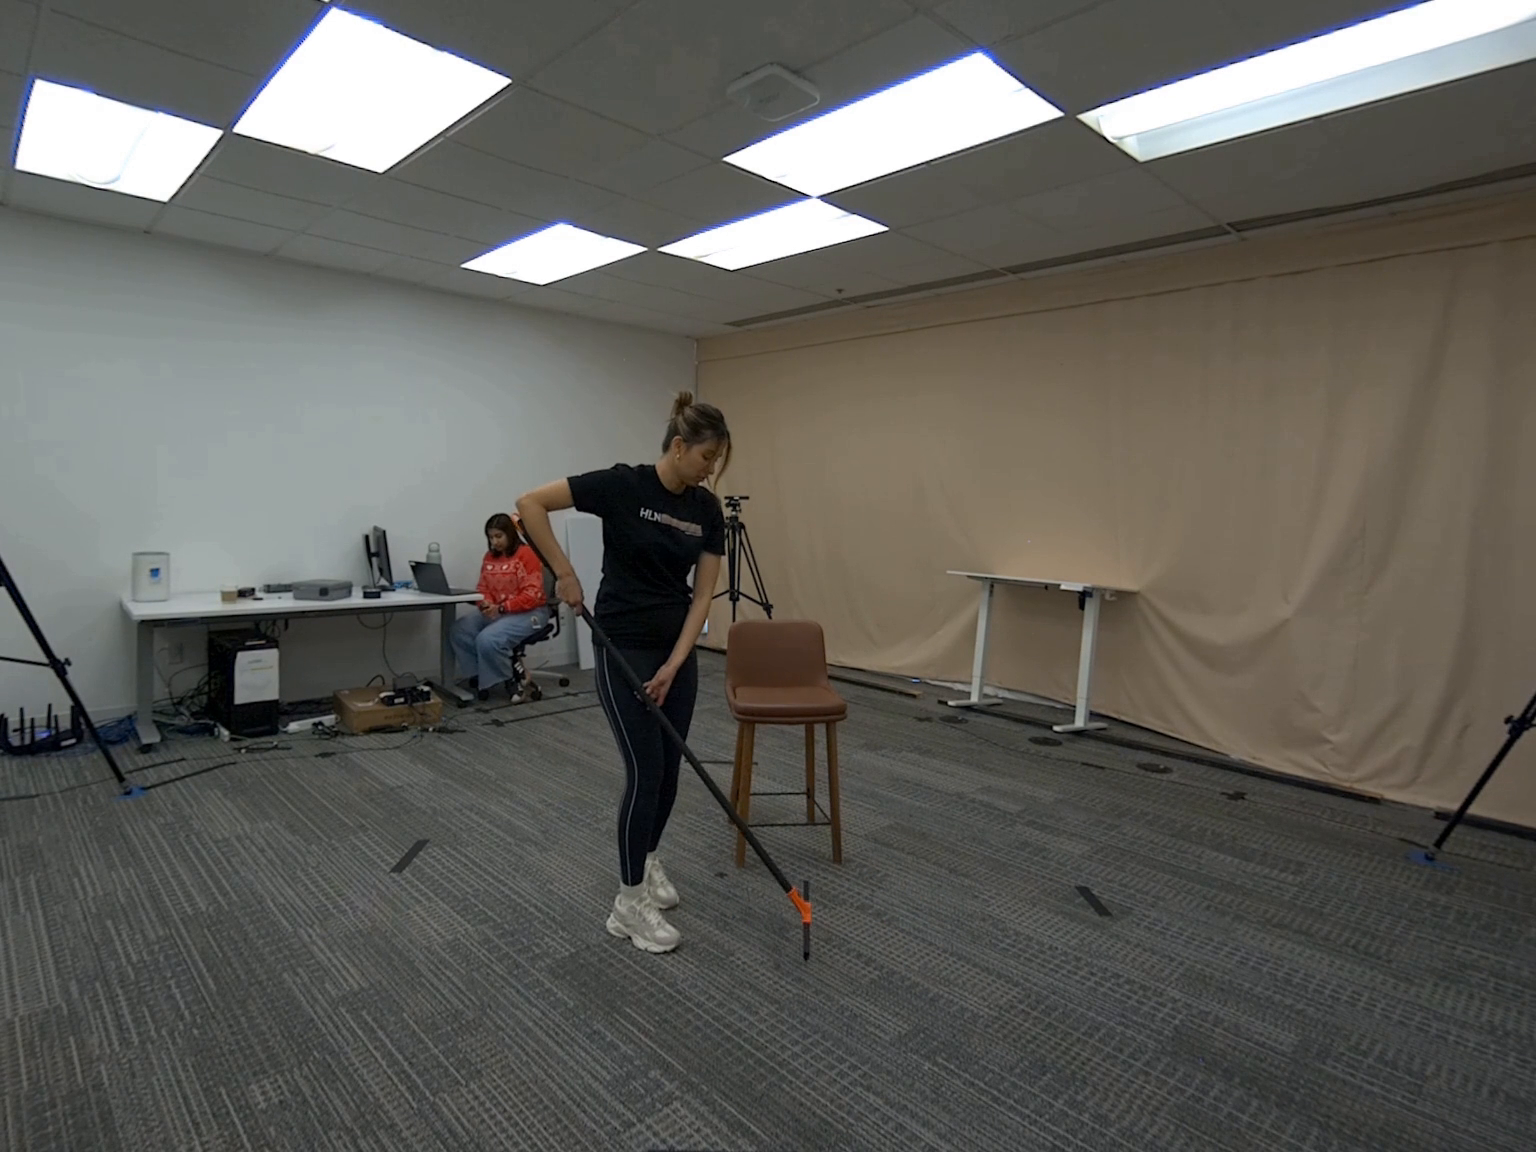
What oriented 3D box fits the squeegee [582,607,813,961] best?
[{"bbox_3d":[-0.310,0.456,2.538,0.053,1.536,0.437,-38,1,4],"label":"squeegee"}]
